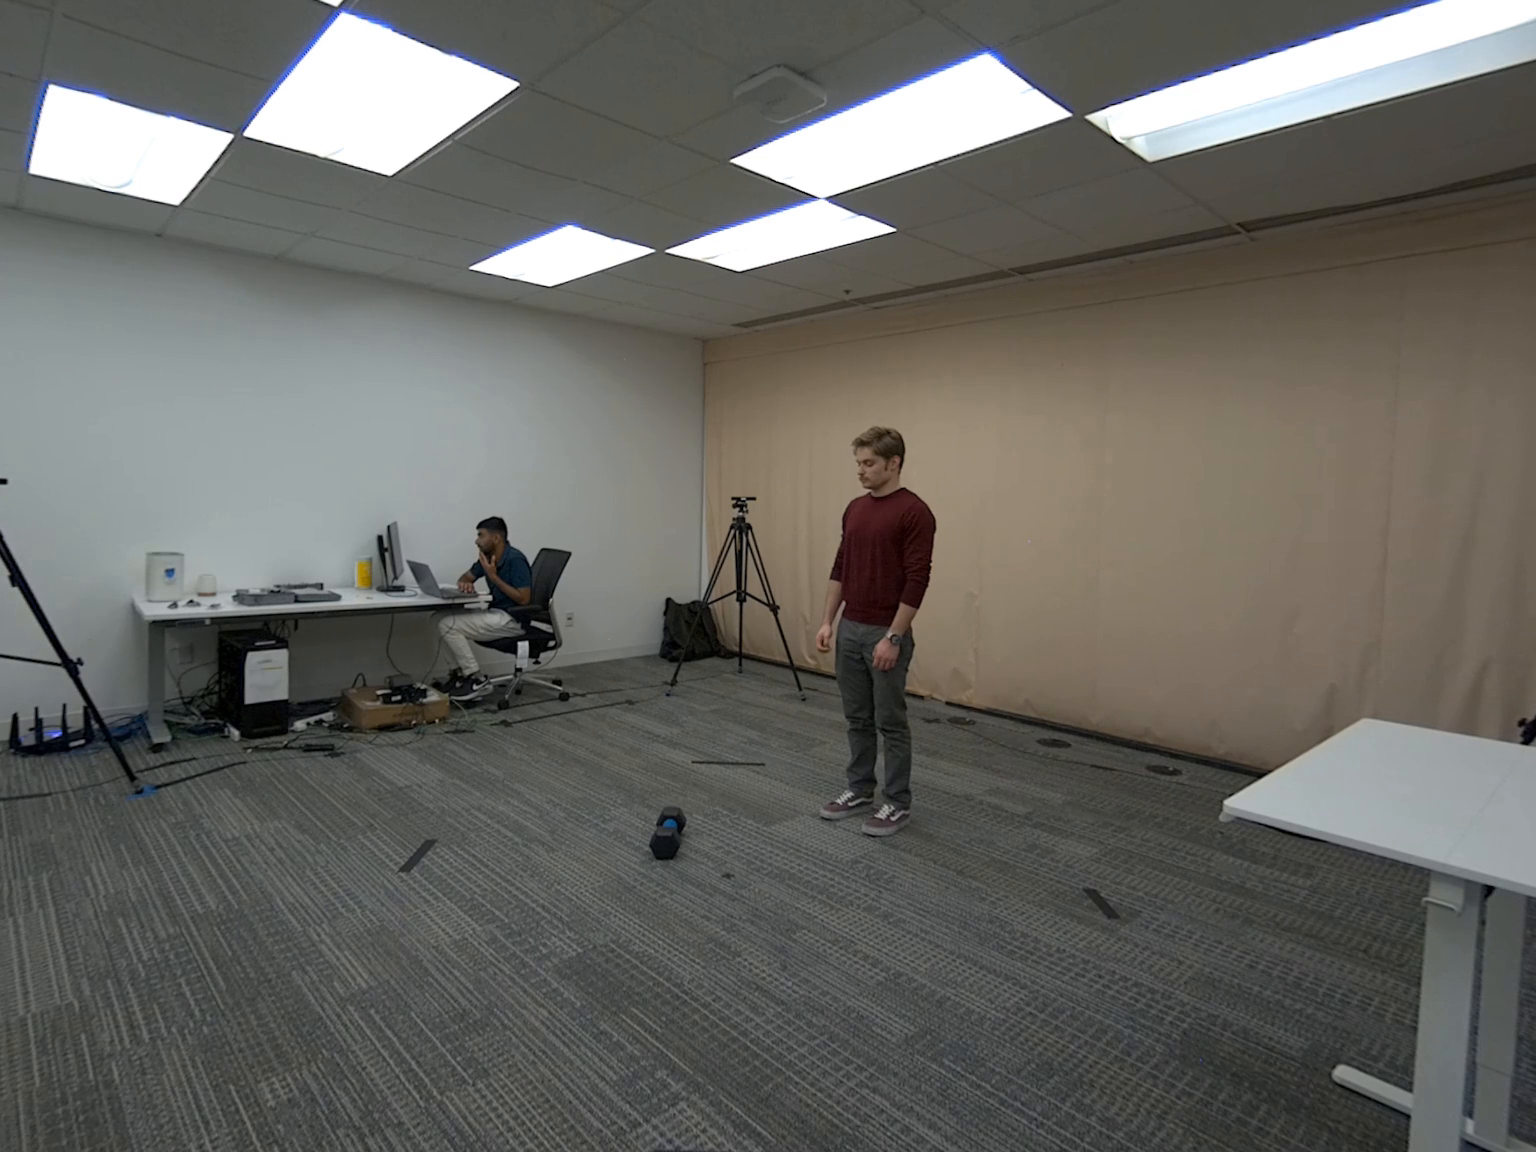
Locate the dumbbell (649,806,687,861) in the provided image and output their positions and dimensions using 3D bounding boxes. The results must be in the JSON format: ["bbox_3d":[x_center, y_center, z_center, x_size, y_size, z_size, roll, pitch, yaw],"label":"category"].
[{"bbox_3d":[-0.406,1.026,3.364,0.108,0.123,0.294,32,4,-2],"label":"dumbbell"}]
